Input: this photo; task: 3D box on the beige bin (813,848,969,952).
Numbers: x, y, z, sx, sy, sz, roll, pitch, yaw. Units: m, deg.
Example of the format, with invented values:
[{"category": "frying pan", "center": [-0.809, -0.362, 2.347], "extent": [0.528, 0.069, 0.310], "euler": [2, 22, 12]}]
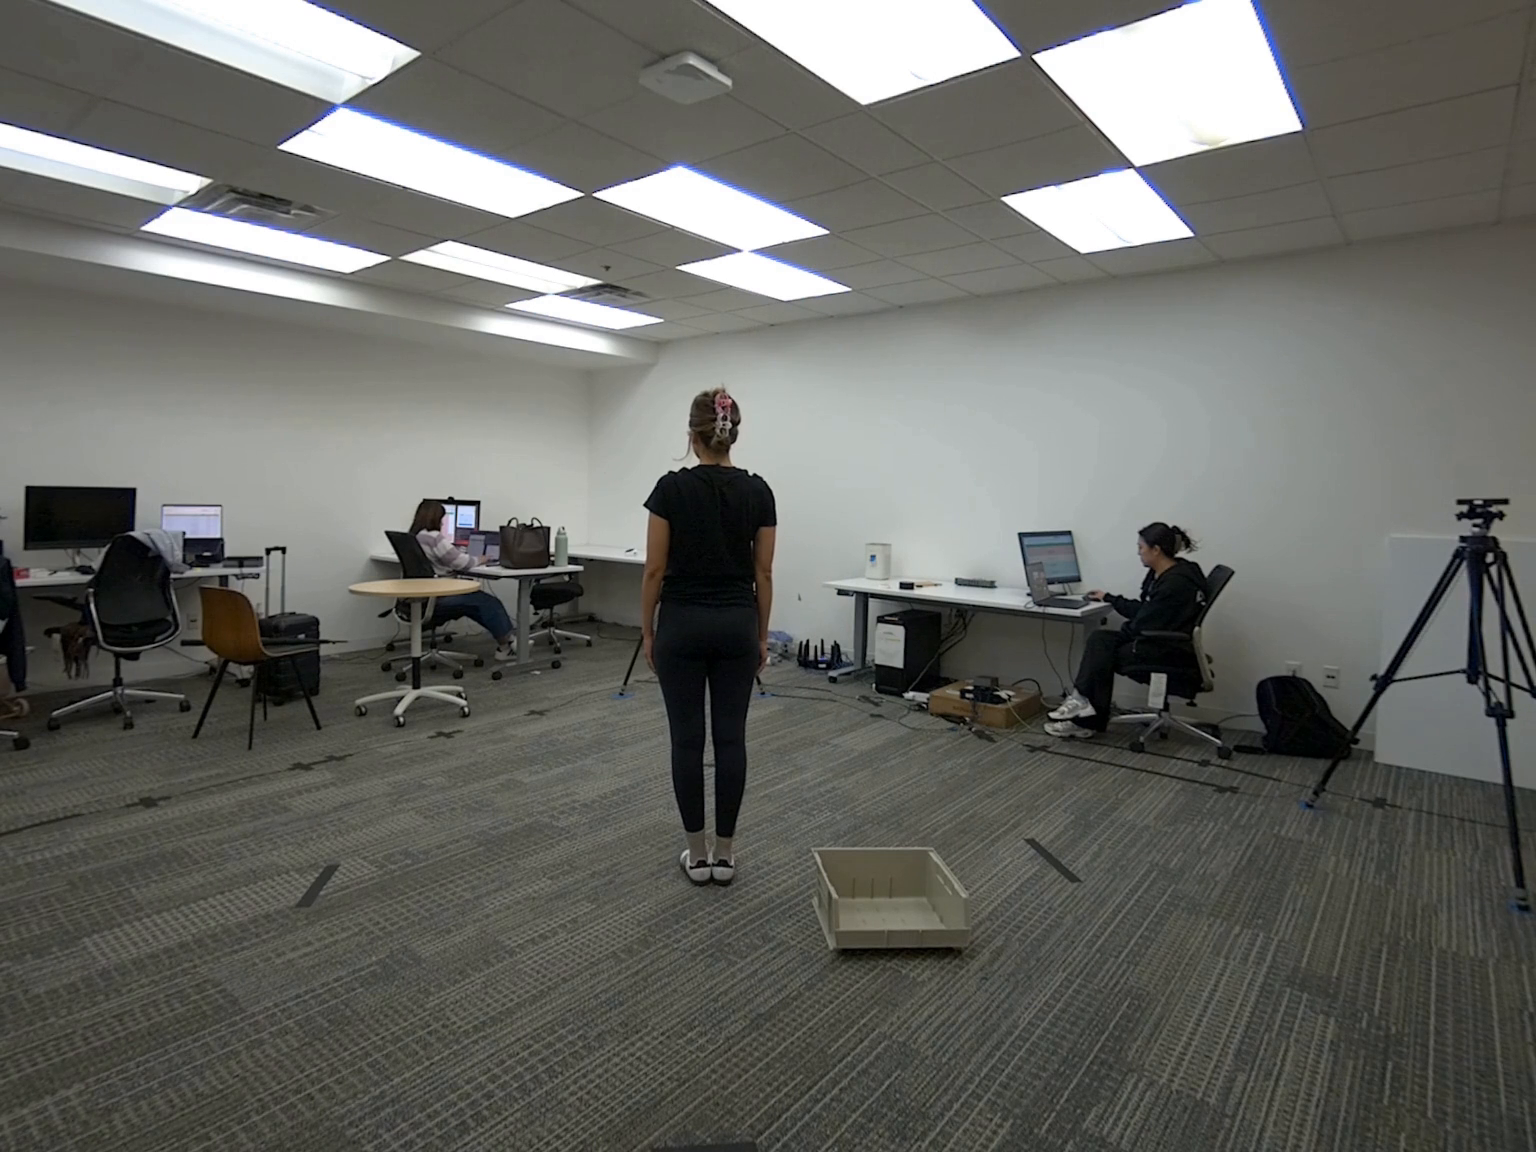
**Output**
[{"category": "beige bin", "center": [0.376, 1.033, 2.715], "extent": [0.420, 0.188, 0.381], "euler": [1, 4, -6]}]
